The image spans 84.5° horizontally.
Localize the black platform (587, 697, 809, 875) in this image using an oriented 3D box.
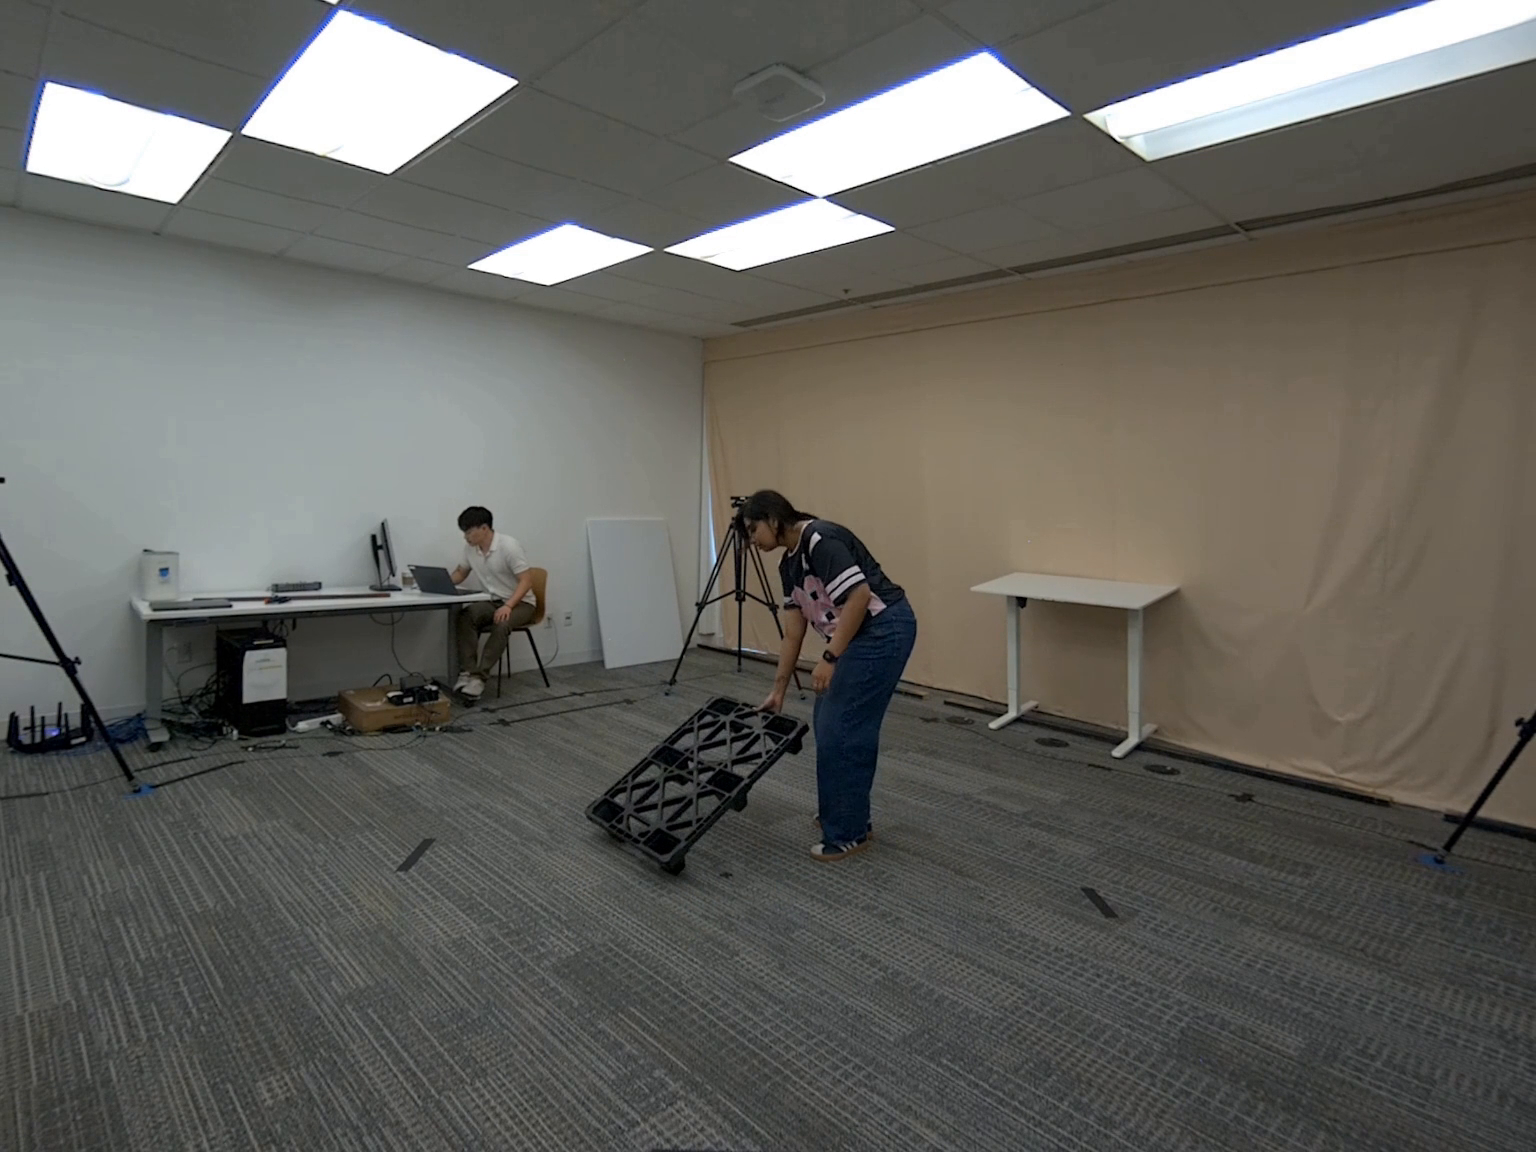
[{"bbox_3d":[-0.285,0.834,3.435,0.802,0.140,0.620,-40,28,-32],"label":"black platform"}]
